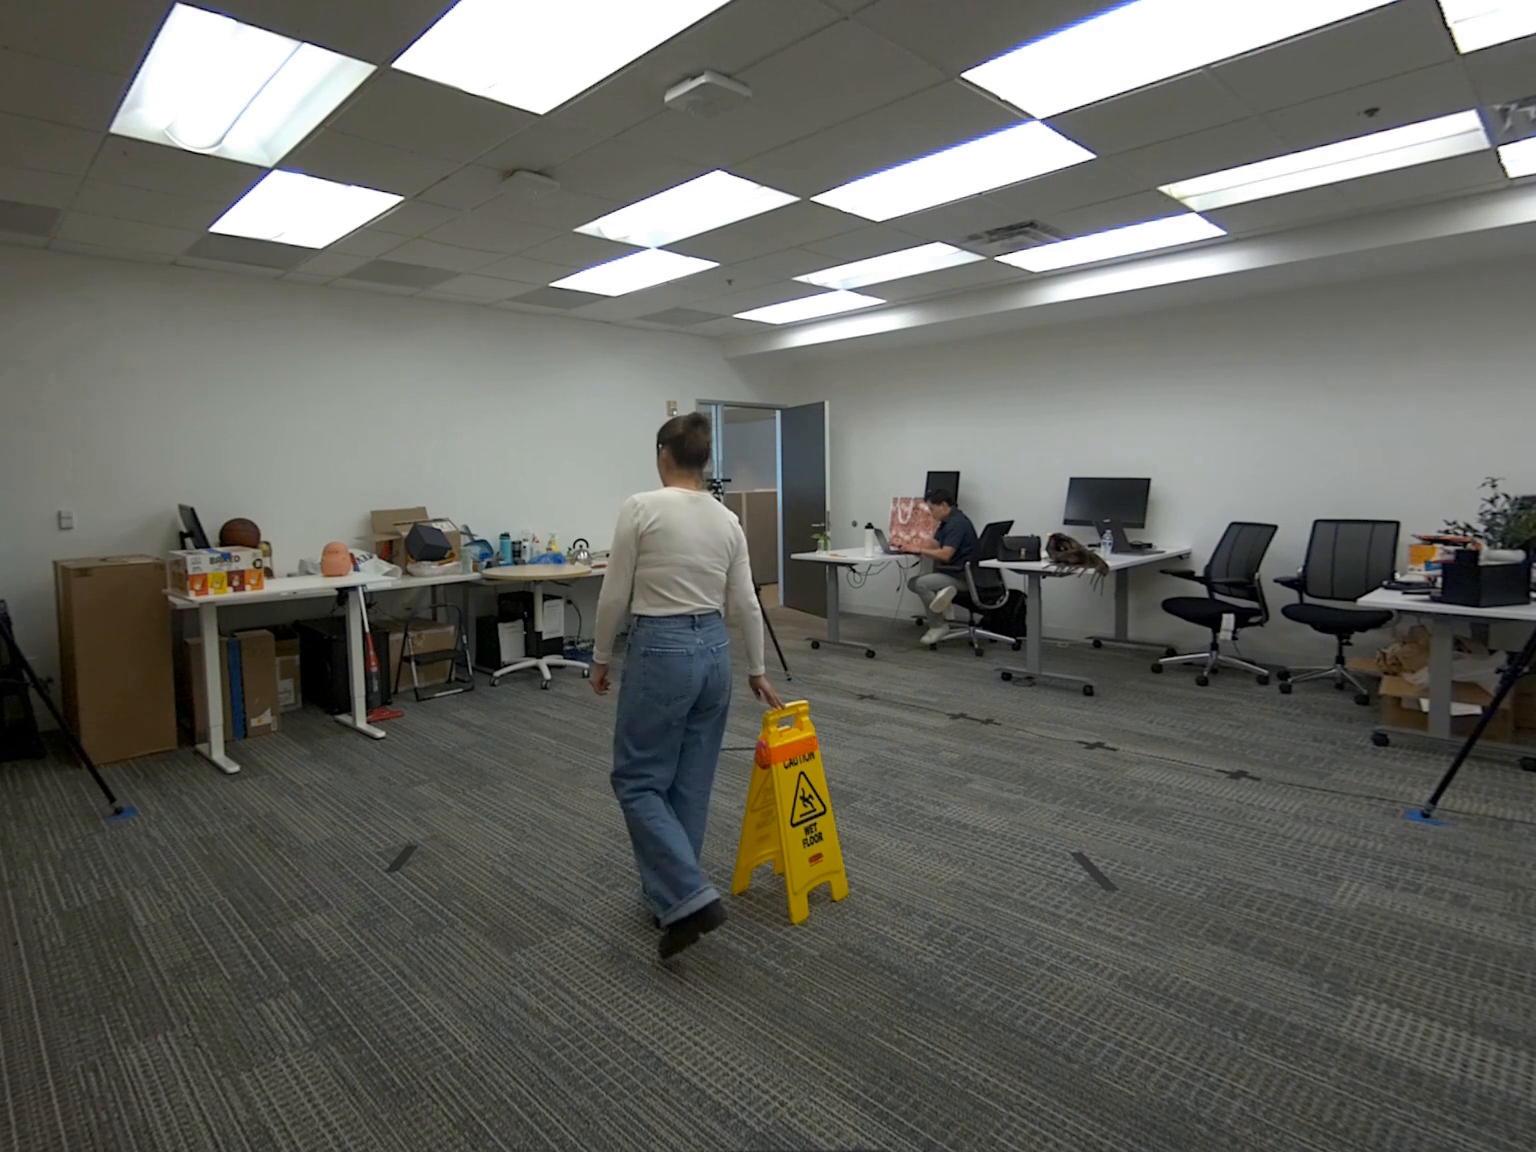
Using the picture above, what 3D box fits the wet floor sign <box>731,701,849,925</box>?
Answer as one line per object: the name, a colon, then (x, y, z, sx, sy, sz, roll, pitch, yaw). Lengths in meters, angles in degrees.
wet floor sign: (0.074, 0.748, 2.848, 0.299, 0.643, 0.275, 4, 6, 44)
